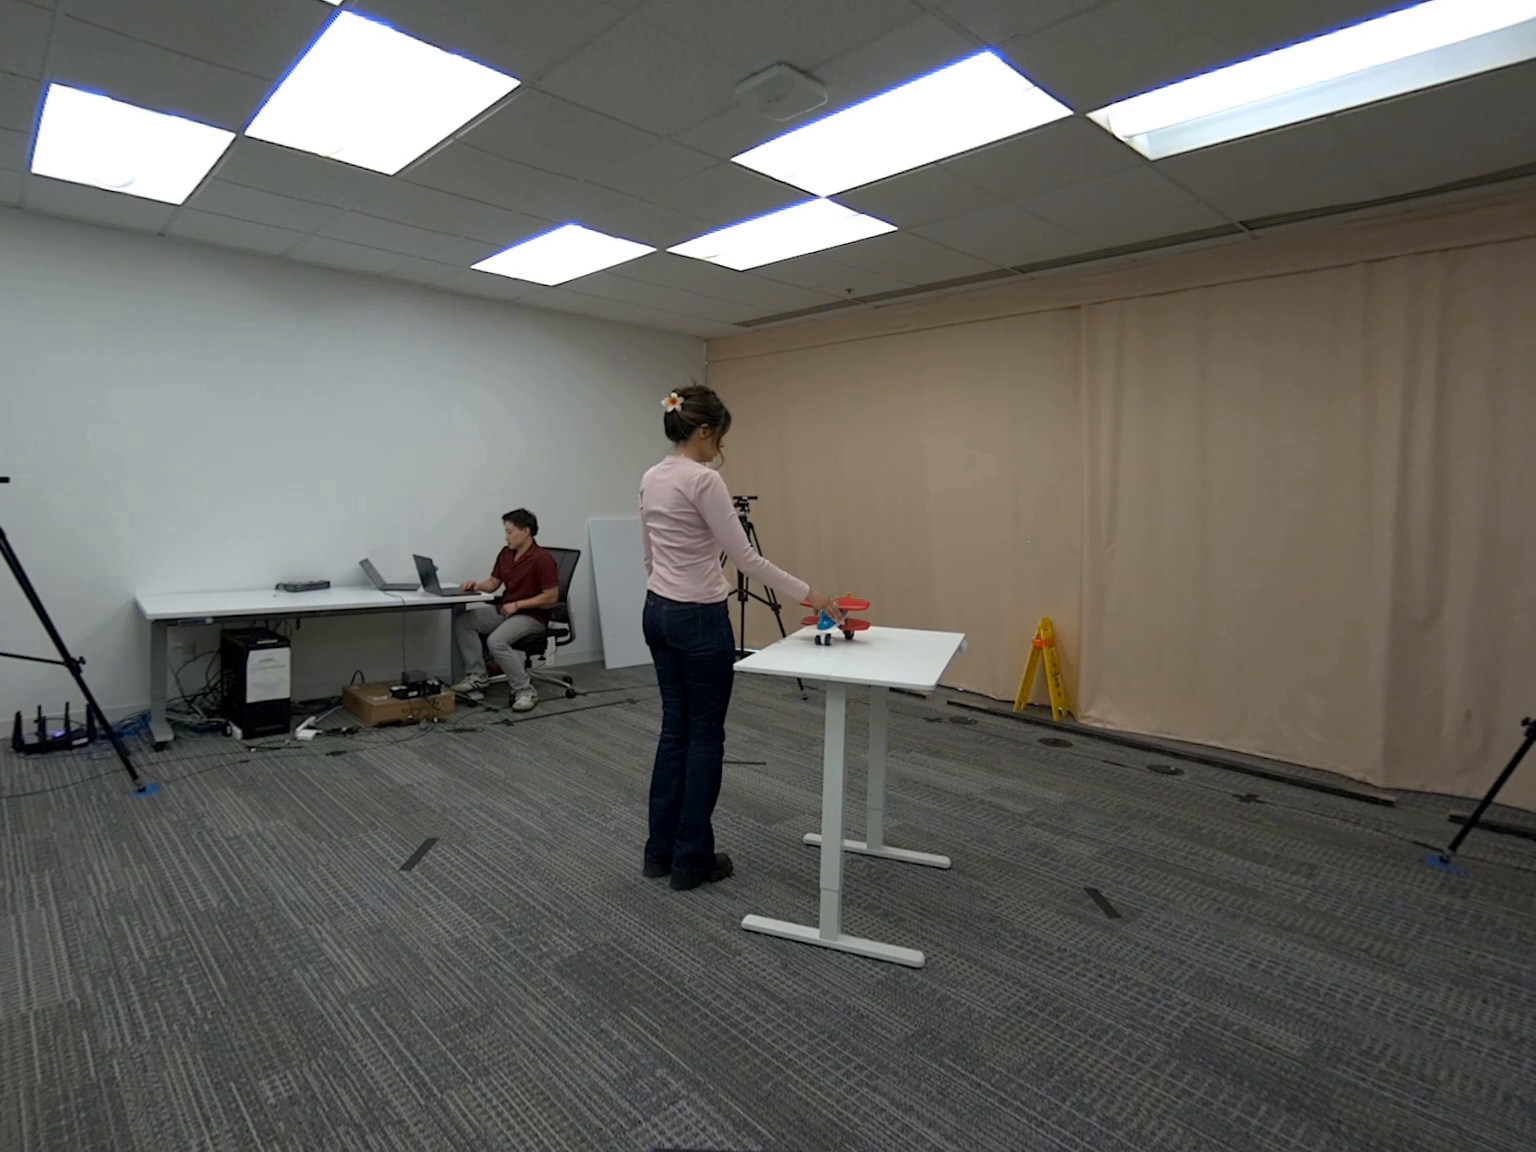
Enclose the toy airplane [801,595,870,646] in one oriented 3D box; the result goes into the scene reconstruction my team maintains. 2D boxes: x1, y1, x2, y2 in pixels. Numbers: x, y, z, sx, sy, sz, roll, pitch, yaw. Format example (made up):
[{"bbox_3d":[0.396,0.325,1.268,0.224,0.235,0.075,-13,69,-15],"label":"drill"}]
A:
[{"bbox_3d":[0.244,0.160,3.027,0.250,0.156,0.261,1,4,-6],"label":"toy airplane"}]
